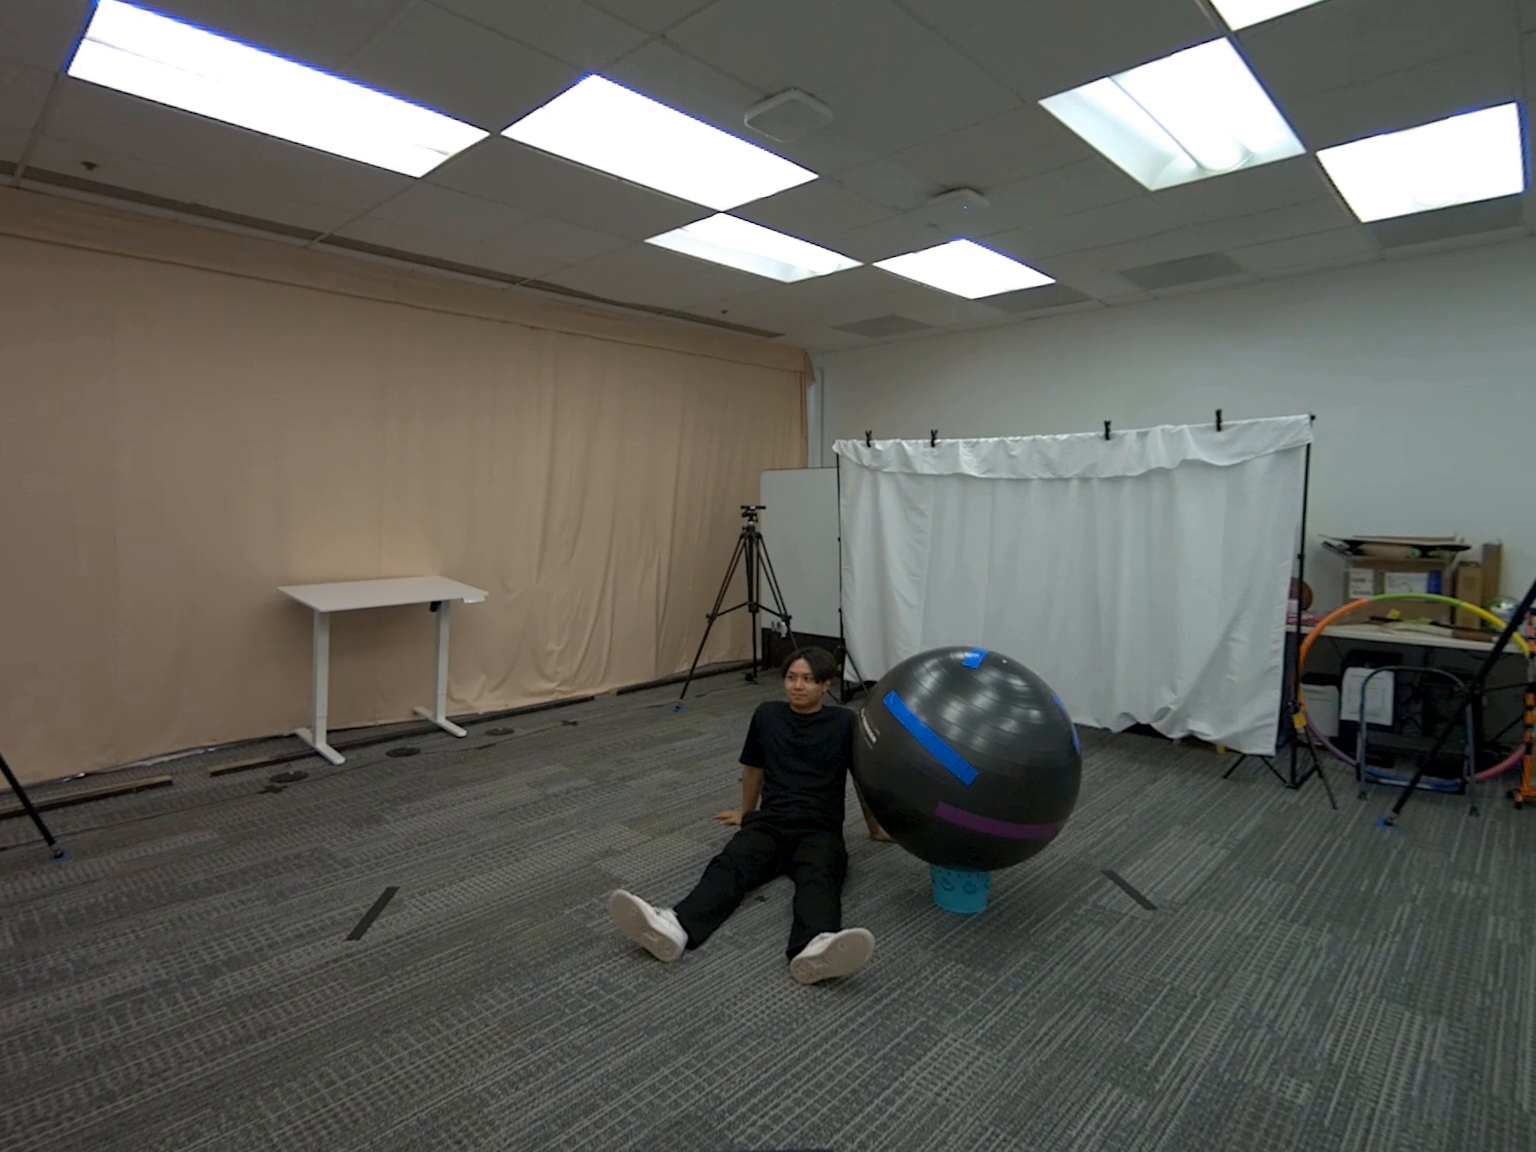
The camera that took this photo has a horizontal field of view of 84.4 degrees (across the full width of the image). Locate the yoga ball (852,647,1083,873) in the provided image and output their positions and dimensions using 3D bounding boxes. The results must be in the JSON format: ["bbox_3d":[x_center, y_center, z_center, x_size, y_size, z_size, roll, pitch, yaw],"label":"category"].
[{"bbox_3d":[0.696,0.646,2.942,0.757,0.756,0.760,0,4,-2],"label":"yoga ball"}]
